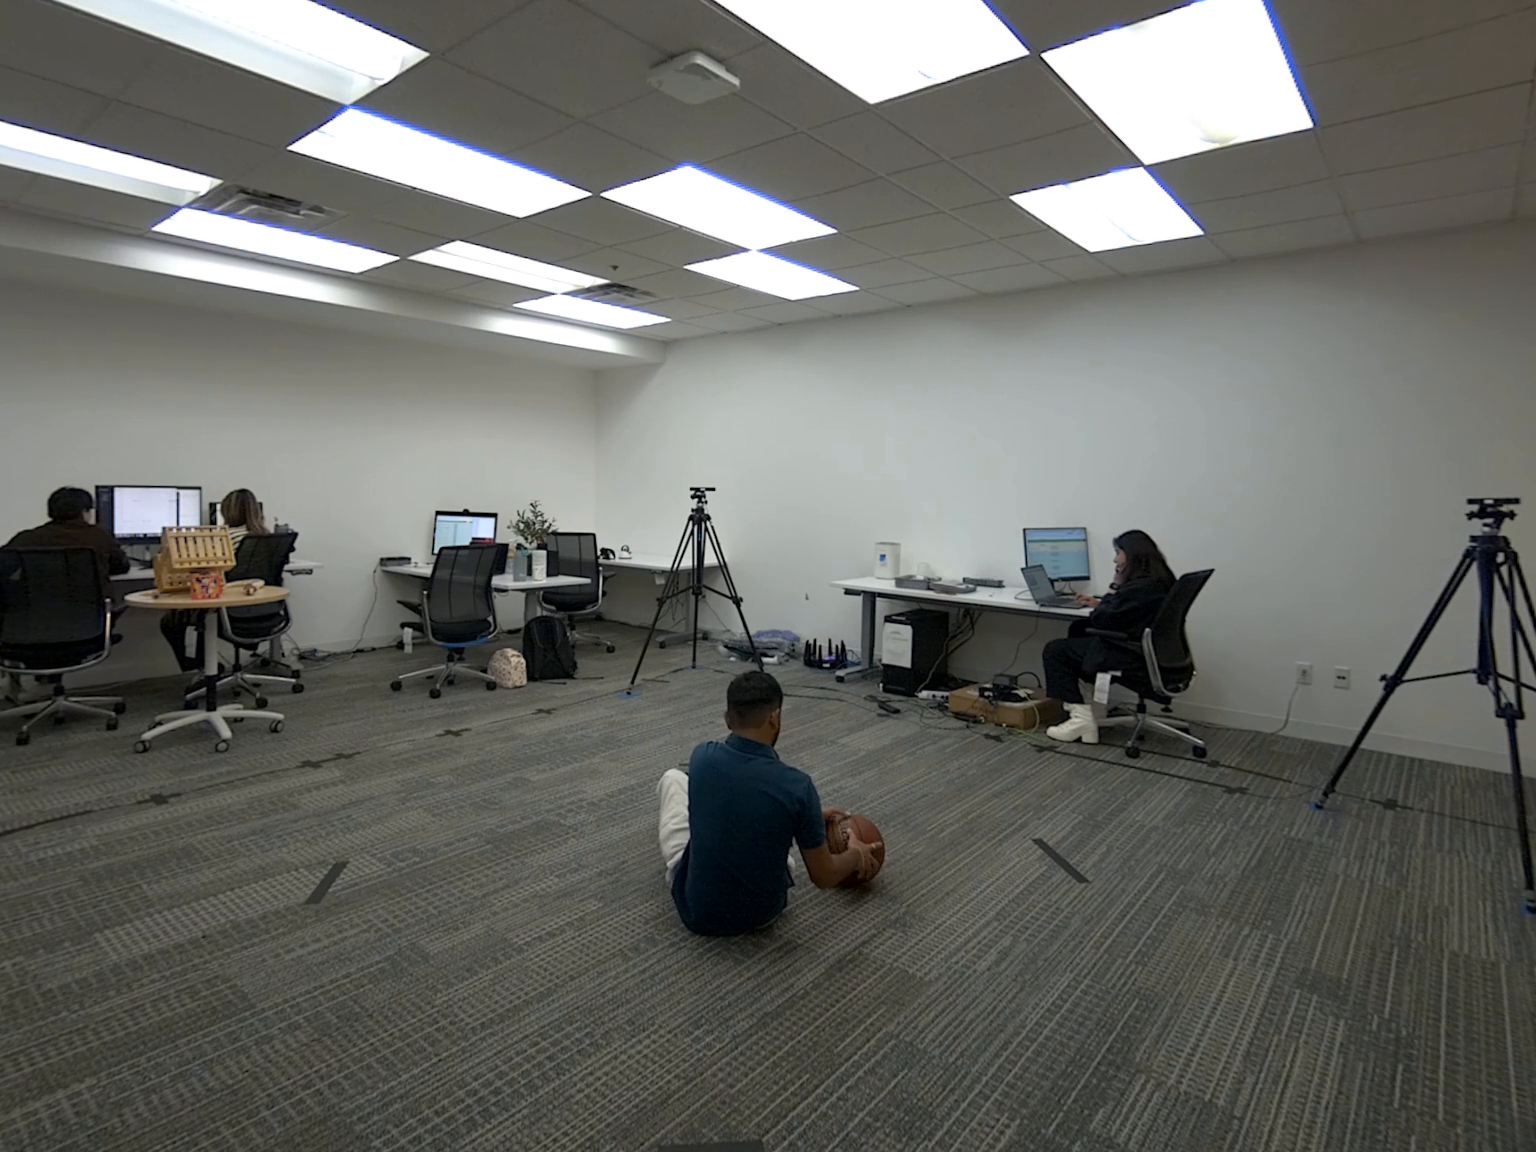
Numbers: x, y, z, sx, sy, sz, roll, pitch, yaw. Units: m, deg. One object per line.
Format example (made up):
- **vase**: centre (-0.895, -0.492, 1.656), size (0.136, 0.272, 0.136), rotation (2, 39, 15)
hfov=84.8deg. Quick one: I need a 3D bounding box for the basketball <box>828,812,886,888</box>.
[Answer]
- **basketball**: centre (0.287, 0.949, 3.020), size (0.235, 0.235, 0.237), rotation (1, 4, -2)
